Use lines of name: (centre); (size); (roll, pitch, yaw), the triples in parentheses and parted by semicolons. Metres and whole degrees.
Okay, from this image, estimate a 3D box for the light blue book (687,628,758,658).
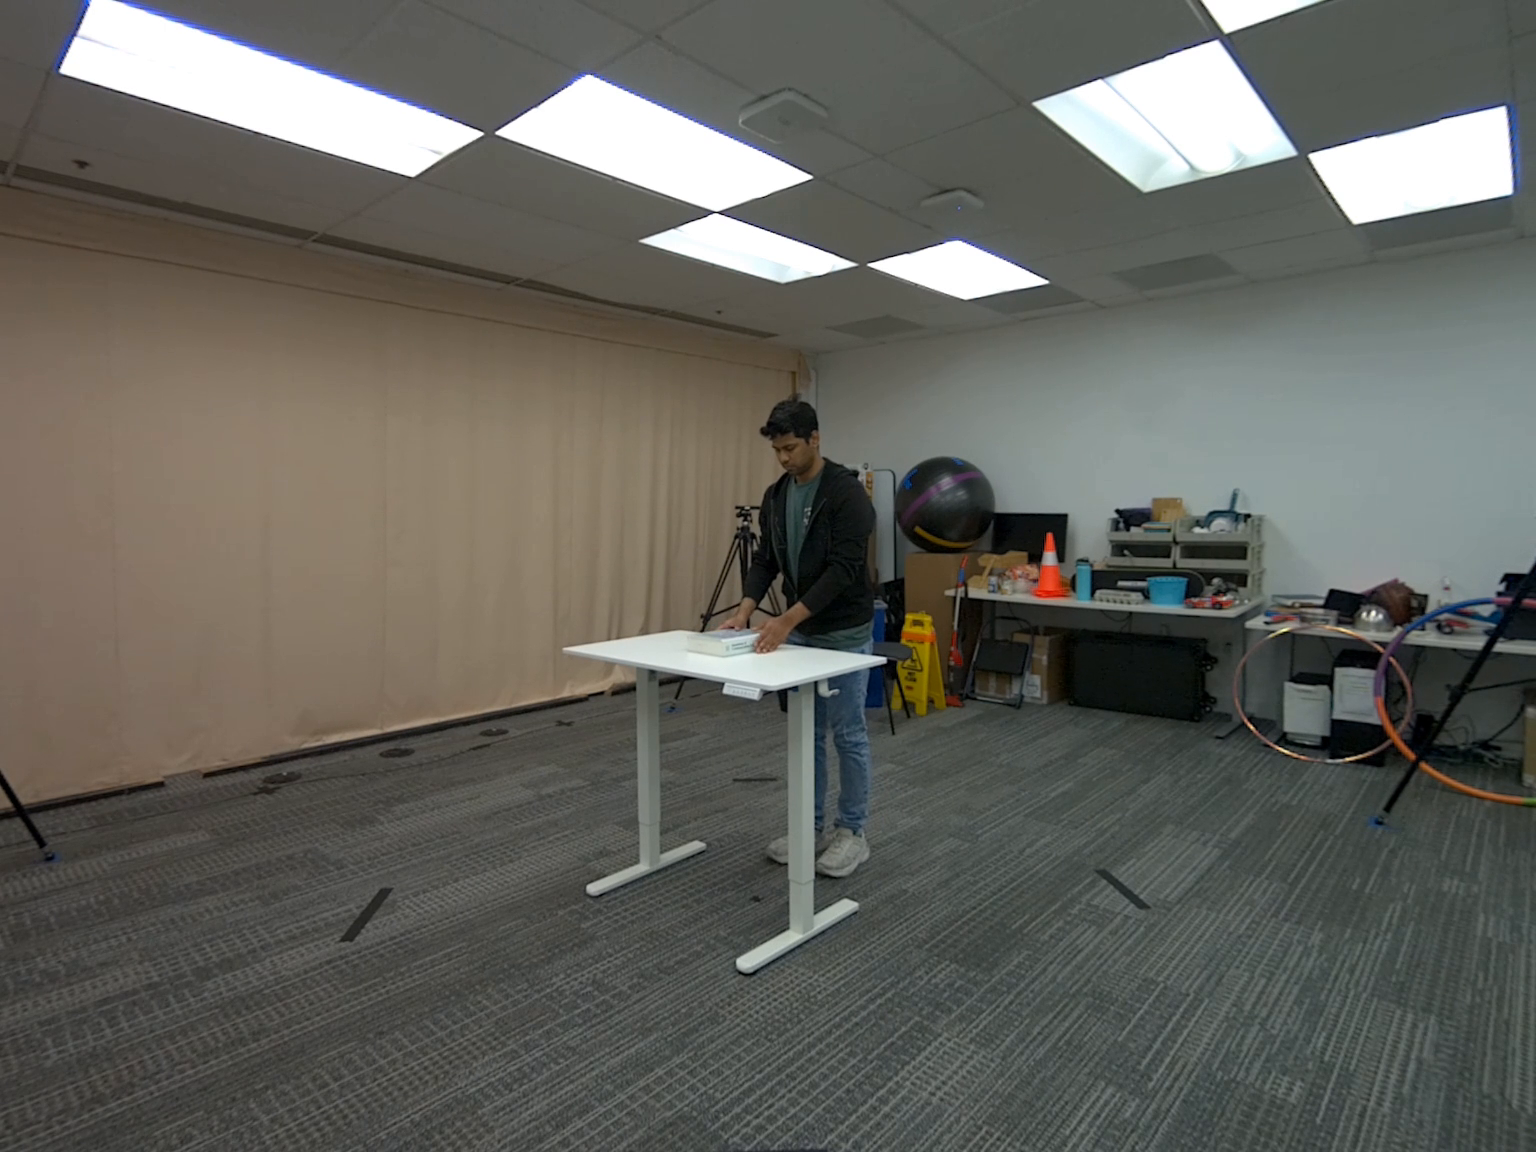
light blue book: (-0.136, 0.239, 2.983); (0.198, 0.059, 0.253); (4, 5, 44)
